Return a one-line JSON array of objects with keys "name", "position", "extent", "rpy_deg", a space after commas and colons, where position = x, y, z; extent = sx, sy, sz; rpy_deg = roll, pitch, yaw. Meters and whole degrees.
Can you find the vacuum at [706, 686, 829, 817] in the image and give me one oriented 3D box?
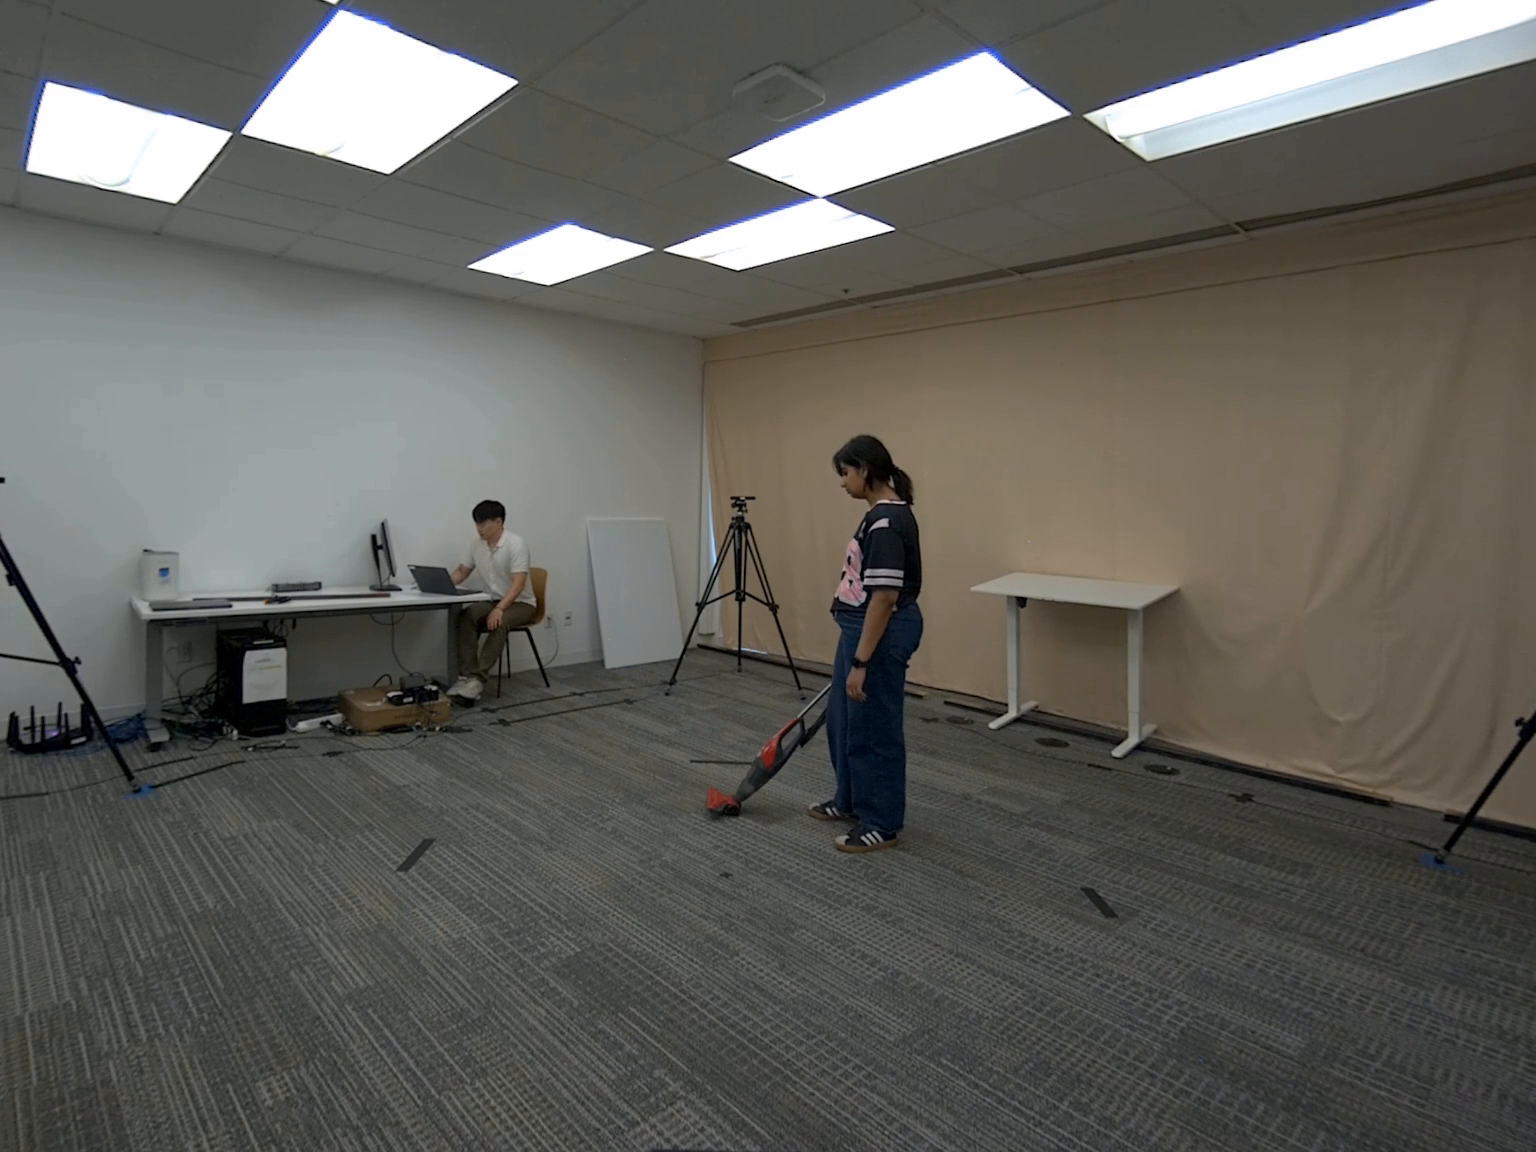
[{"name": "vacuum", "position": [0.151, 0.660, 3.729], "extent": [0.143, 1.049, 0.254], "rpy_deg": [46, 2, -6]}]
